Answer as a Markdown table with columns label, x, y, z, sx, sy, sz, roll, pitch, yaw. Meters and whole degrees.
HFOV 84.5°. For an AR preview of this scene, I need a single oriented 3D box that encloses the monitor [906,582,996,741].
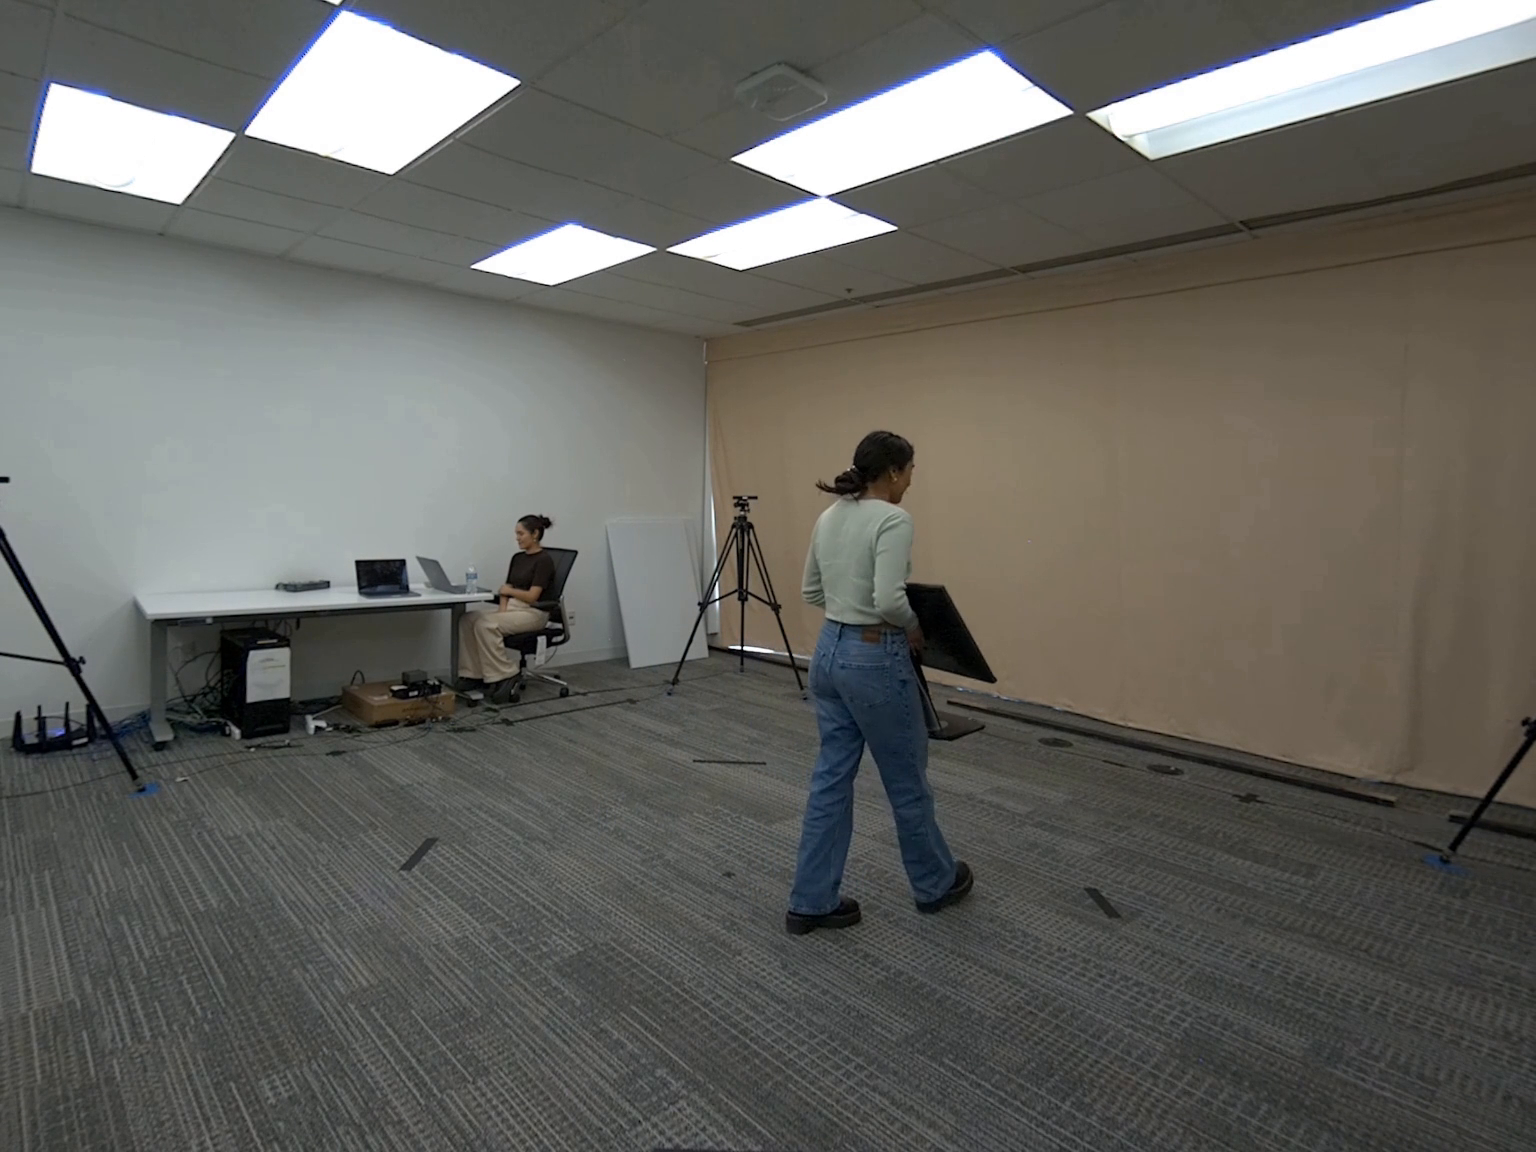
| label | x | y | z | sx | sy | sz | roll | pitch | yaw |
| --- | --- | --- | --- | --- | --- | --- | --- | --- | --- |
| monitor | 0.531 | 0.255 | 2.803 | 0.173 | 0.514 | 0.537 | -11 | 4 | -17 |
